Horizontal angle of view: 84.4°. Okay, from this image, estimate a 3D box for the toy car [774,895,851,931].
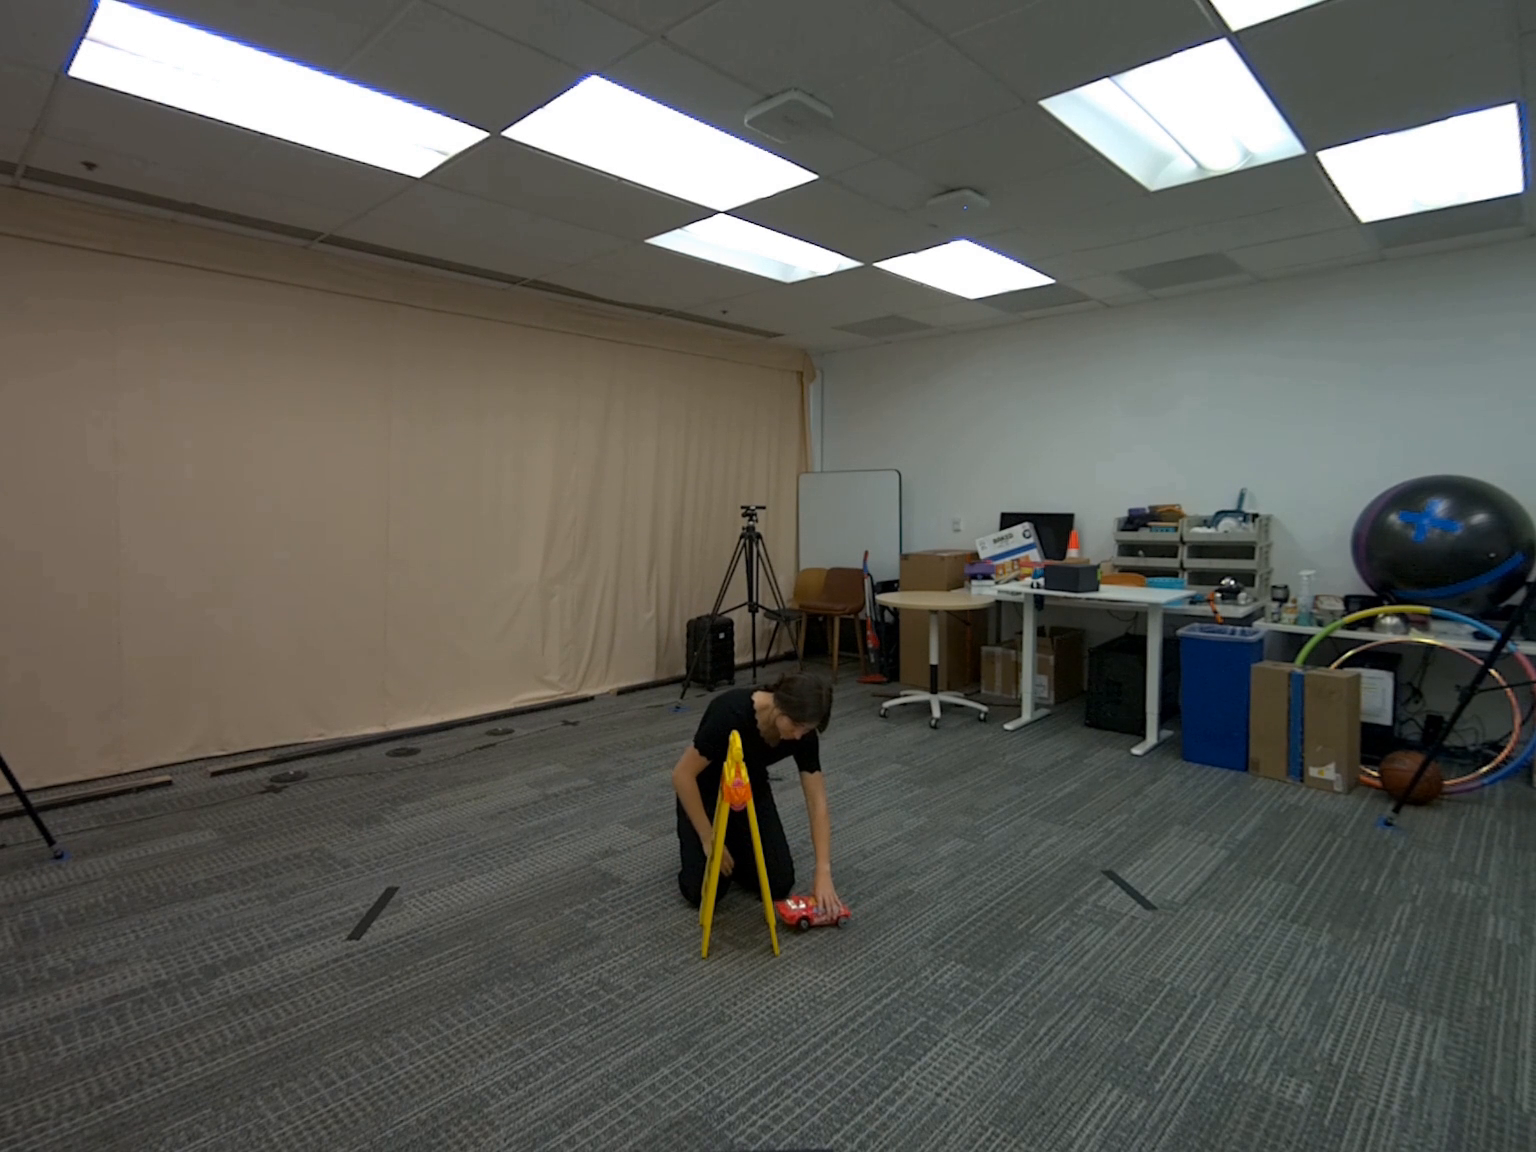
[{"bbox_3d":[0.143,1.121,2.780,0.249,0.083,0.133,18,-1,-21],"label":"toy car"}]
